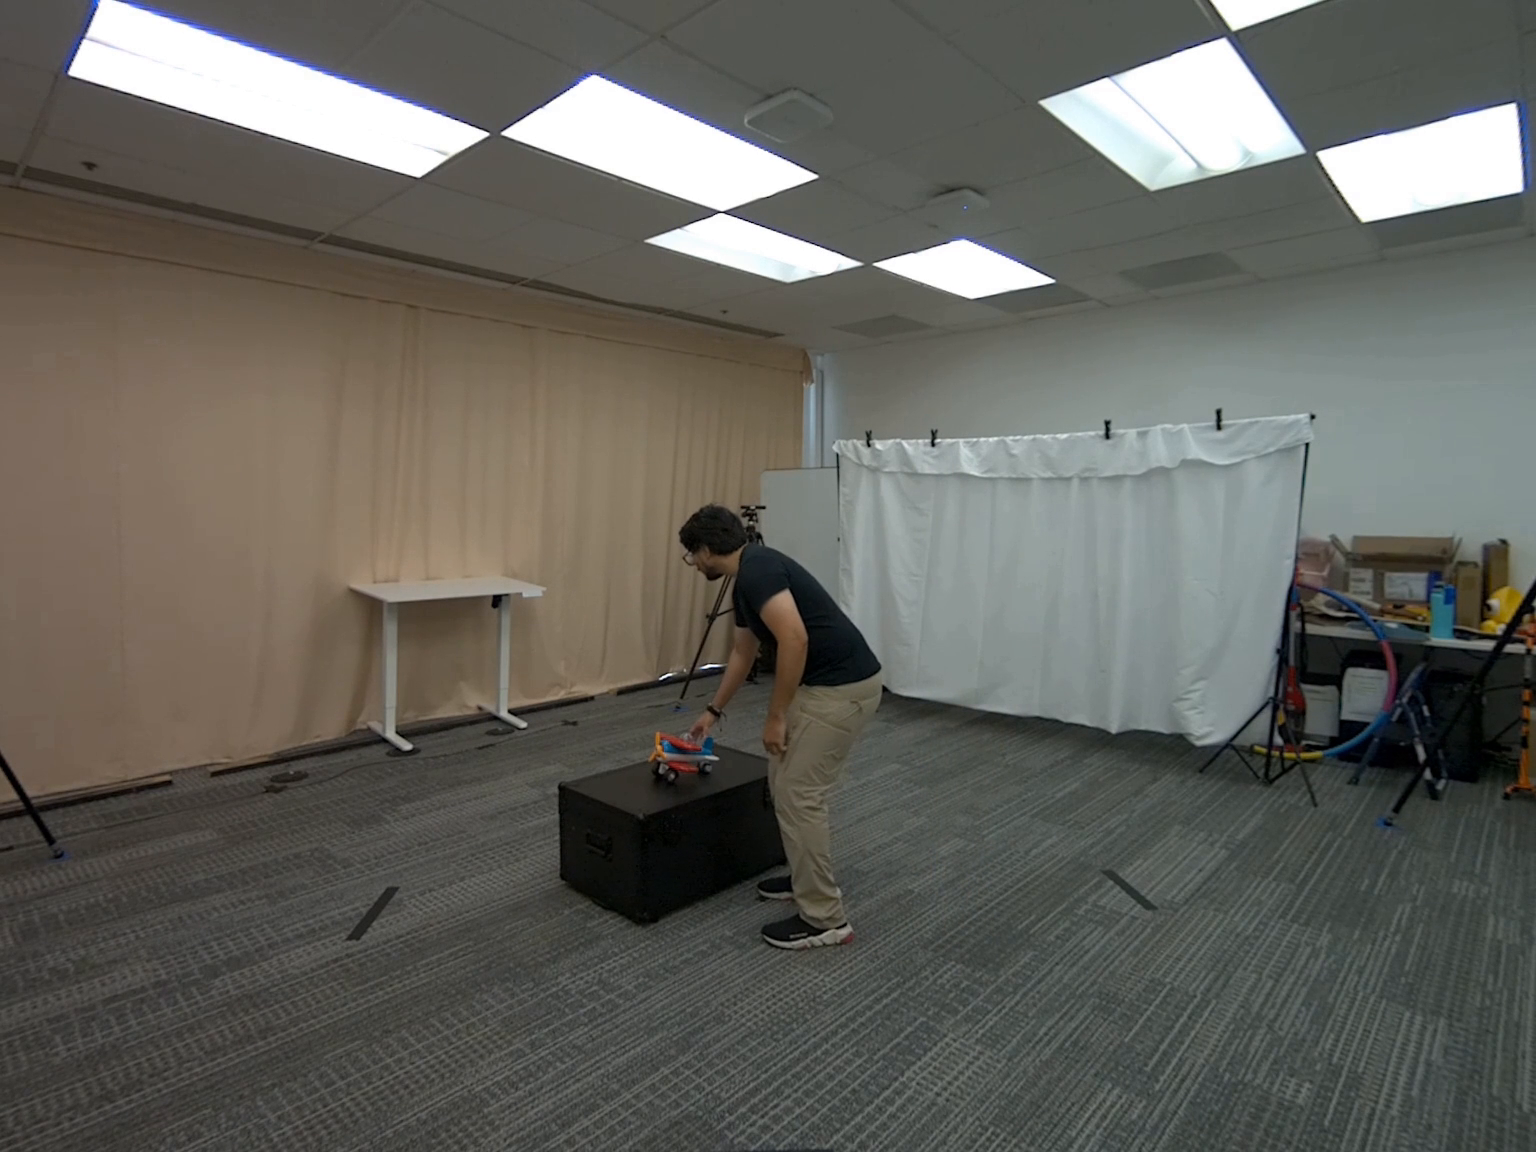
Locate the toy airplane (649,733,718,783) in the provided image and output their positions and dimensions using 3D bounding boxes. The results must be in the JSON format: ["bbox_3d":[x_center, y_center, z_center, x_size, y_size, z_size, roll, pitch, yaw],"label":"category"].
[{"bbox_3d":[-0.330,0.677,3.191,0.258,0.156,0.253,2,6,26],"label":"toy airplane"}]
